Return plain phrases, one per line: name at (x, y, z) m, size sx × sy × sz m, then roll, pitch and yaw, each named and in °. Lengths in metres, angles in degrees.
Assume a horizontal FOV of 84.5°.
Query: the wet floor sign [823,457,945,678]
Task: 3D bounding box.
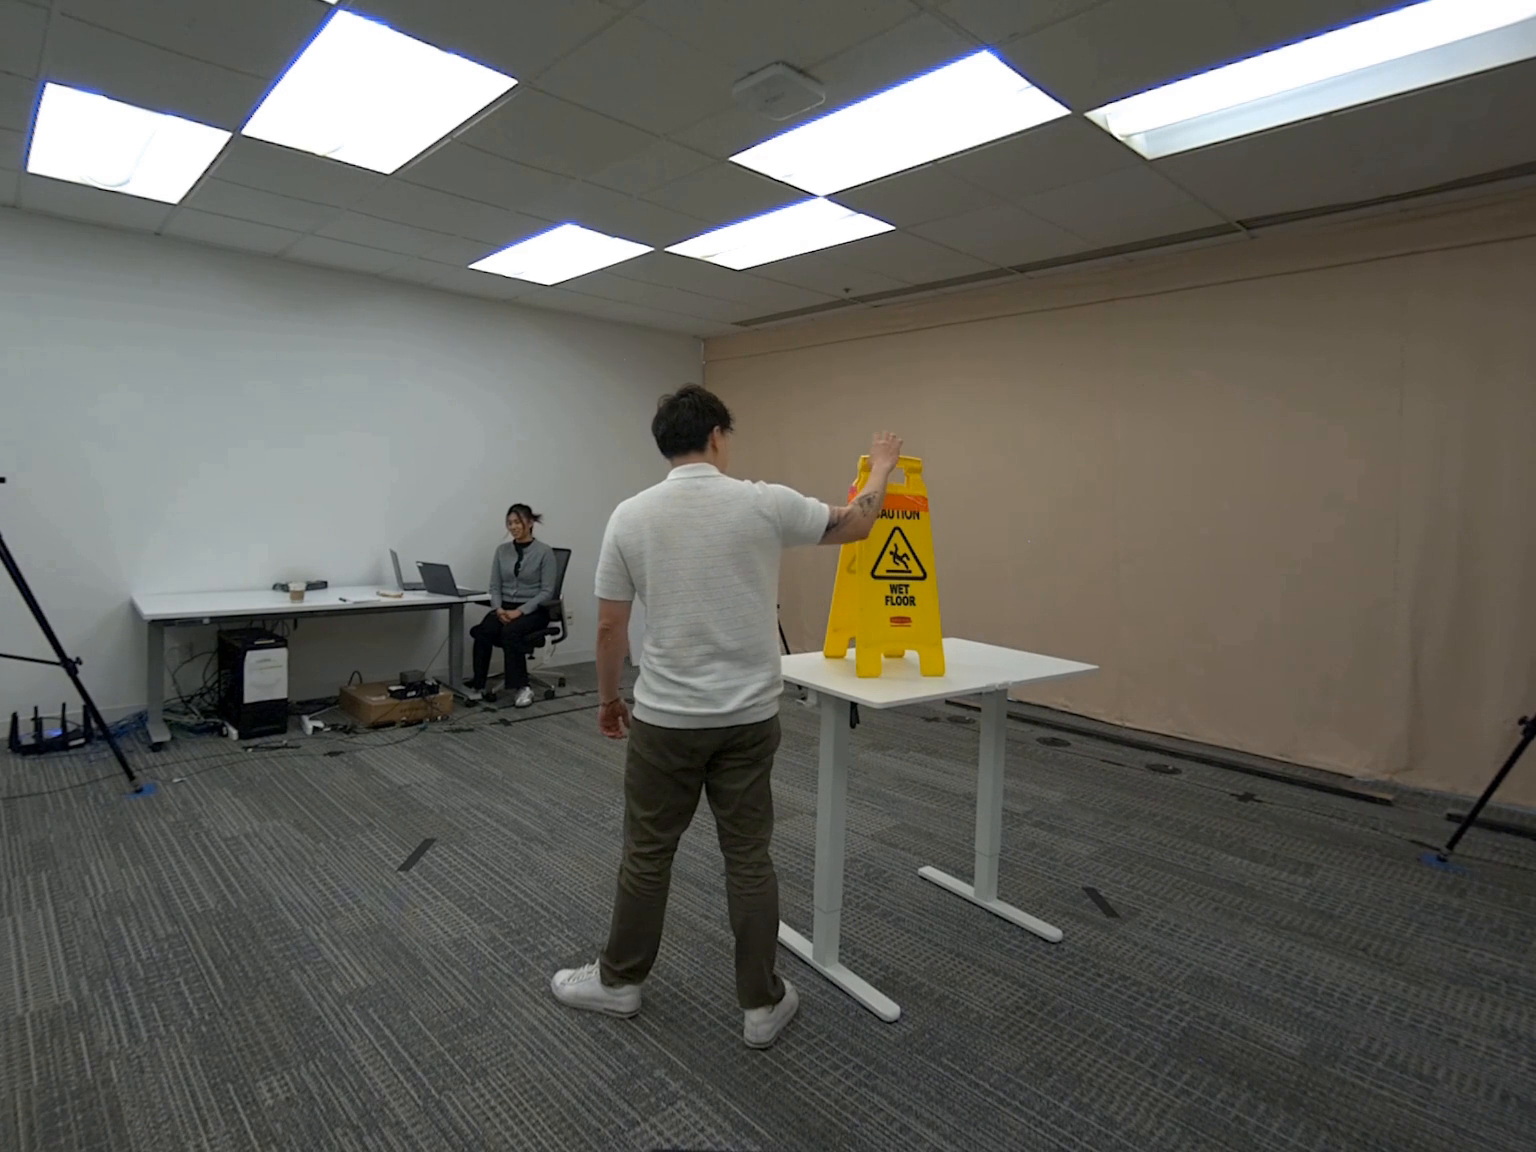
wet floor sign at (0.360, -0.040, 2.570) m, size 0.279 × 0.645 × 0.293 m, roll 3°, pitch 2°, yaw -14°
